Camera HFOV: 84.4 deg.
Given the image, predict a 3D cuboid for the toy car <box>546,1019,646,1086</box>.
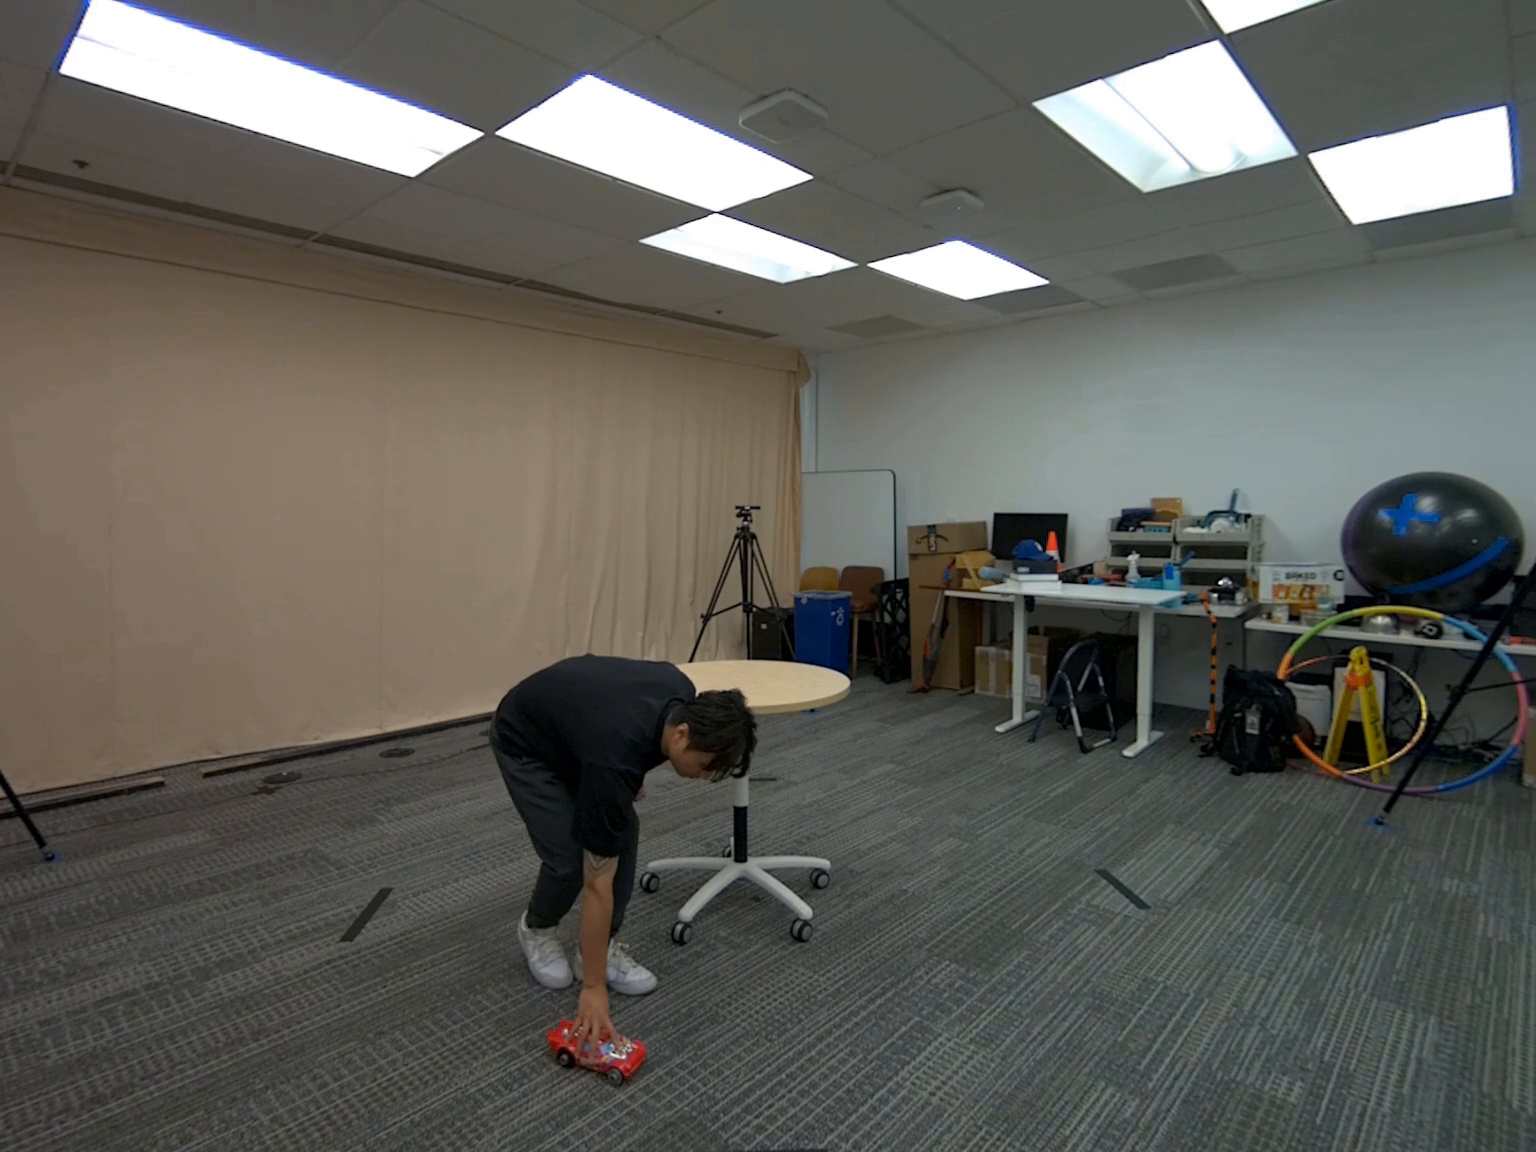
[{"bbox_3d":[-0.436,1.193,2.107,0.261,0.083,0.127,13,8,20],"label":"toy car"}]
